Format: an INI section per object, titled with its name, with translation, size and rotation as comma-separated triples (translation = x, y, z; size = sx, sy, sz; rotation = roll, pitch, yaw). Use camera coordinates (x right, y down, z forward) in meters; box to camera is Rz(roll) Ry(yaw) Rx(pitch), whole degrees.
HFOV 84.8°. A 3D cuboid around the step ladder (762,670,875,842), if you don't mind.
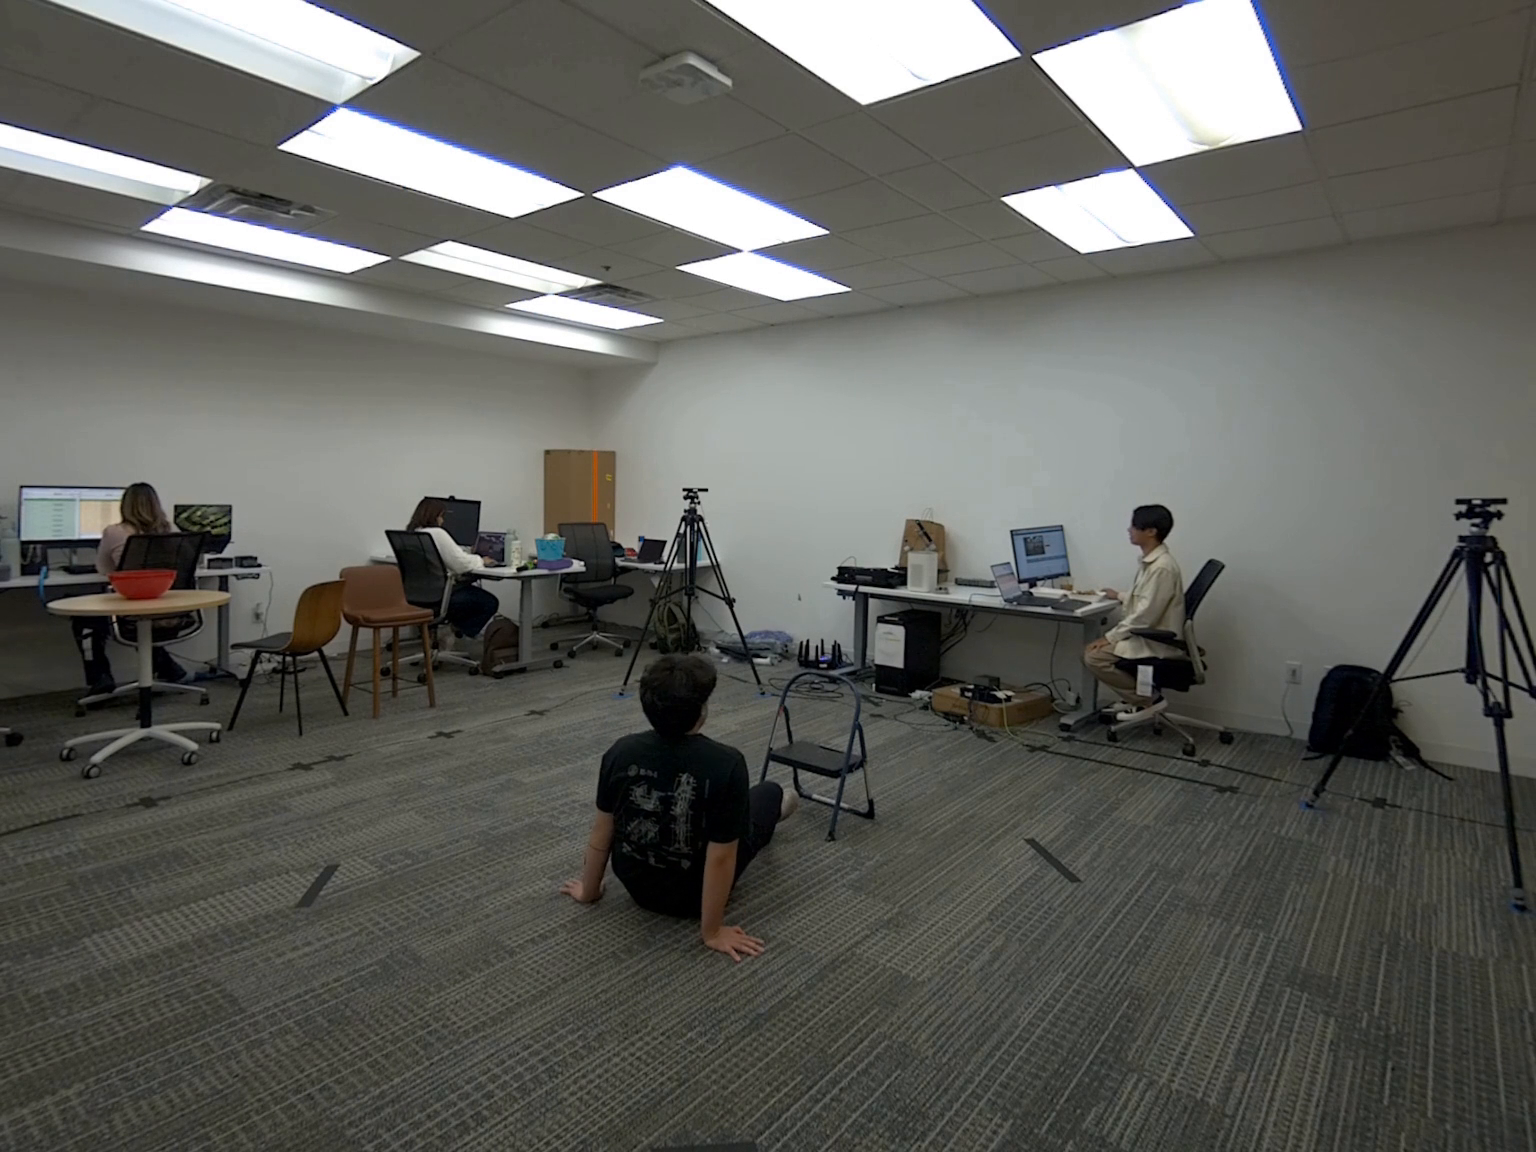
[step ladder]
translation = 0.192, 0.724, 3.635
size = 0.445, 0.604, 0.339
rotation = 5, 5, 40
